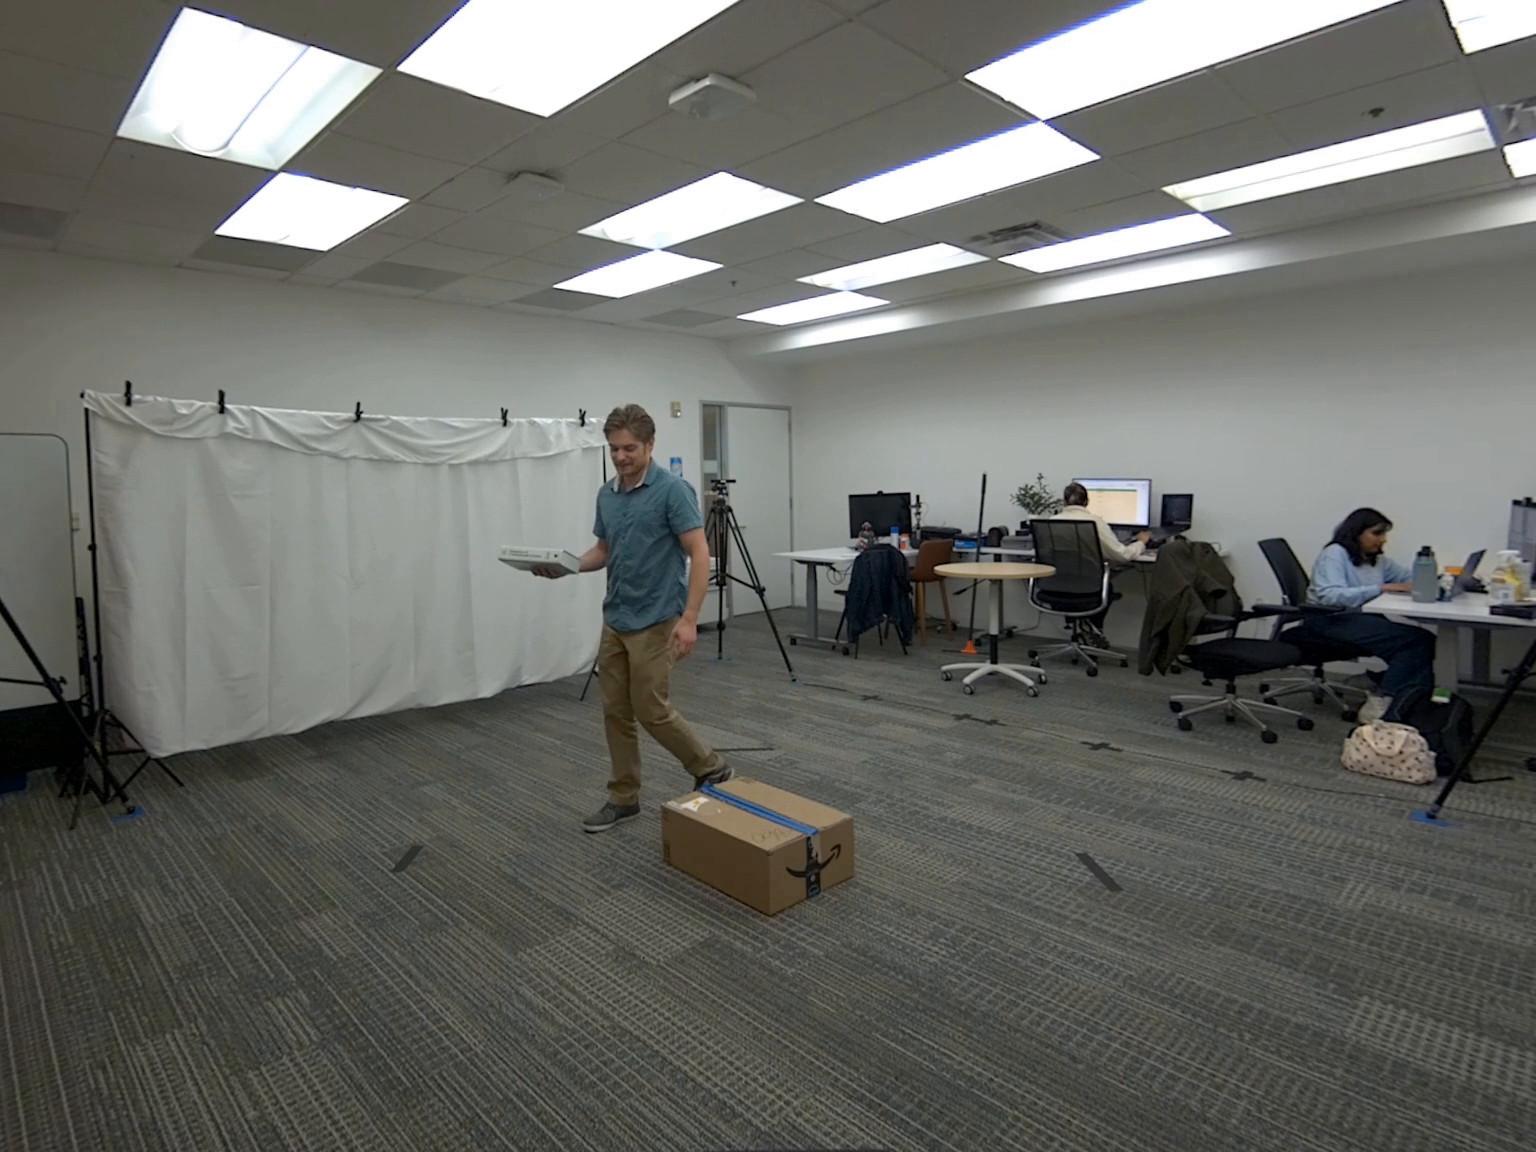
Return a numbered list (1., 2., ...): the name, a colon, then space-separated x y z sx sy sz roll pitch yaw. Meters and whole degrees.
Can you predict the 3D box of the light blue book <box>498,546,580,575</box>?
1. light blue book: -0.870 -0.061 3.306 0.265 0.060 0.186 4 -13 14
